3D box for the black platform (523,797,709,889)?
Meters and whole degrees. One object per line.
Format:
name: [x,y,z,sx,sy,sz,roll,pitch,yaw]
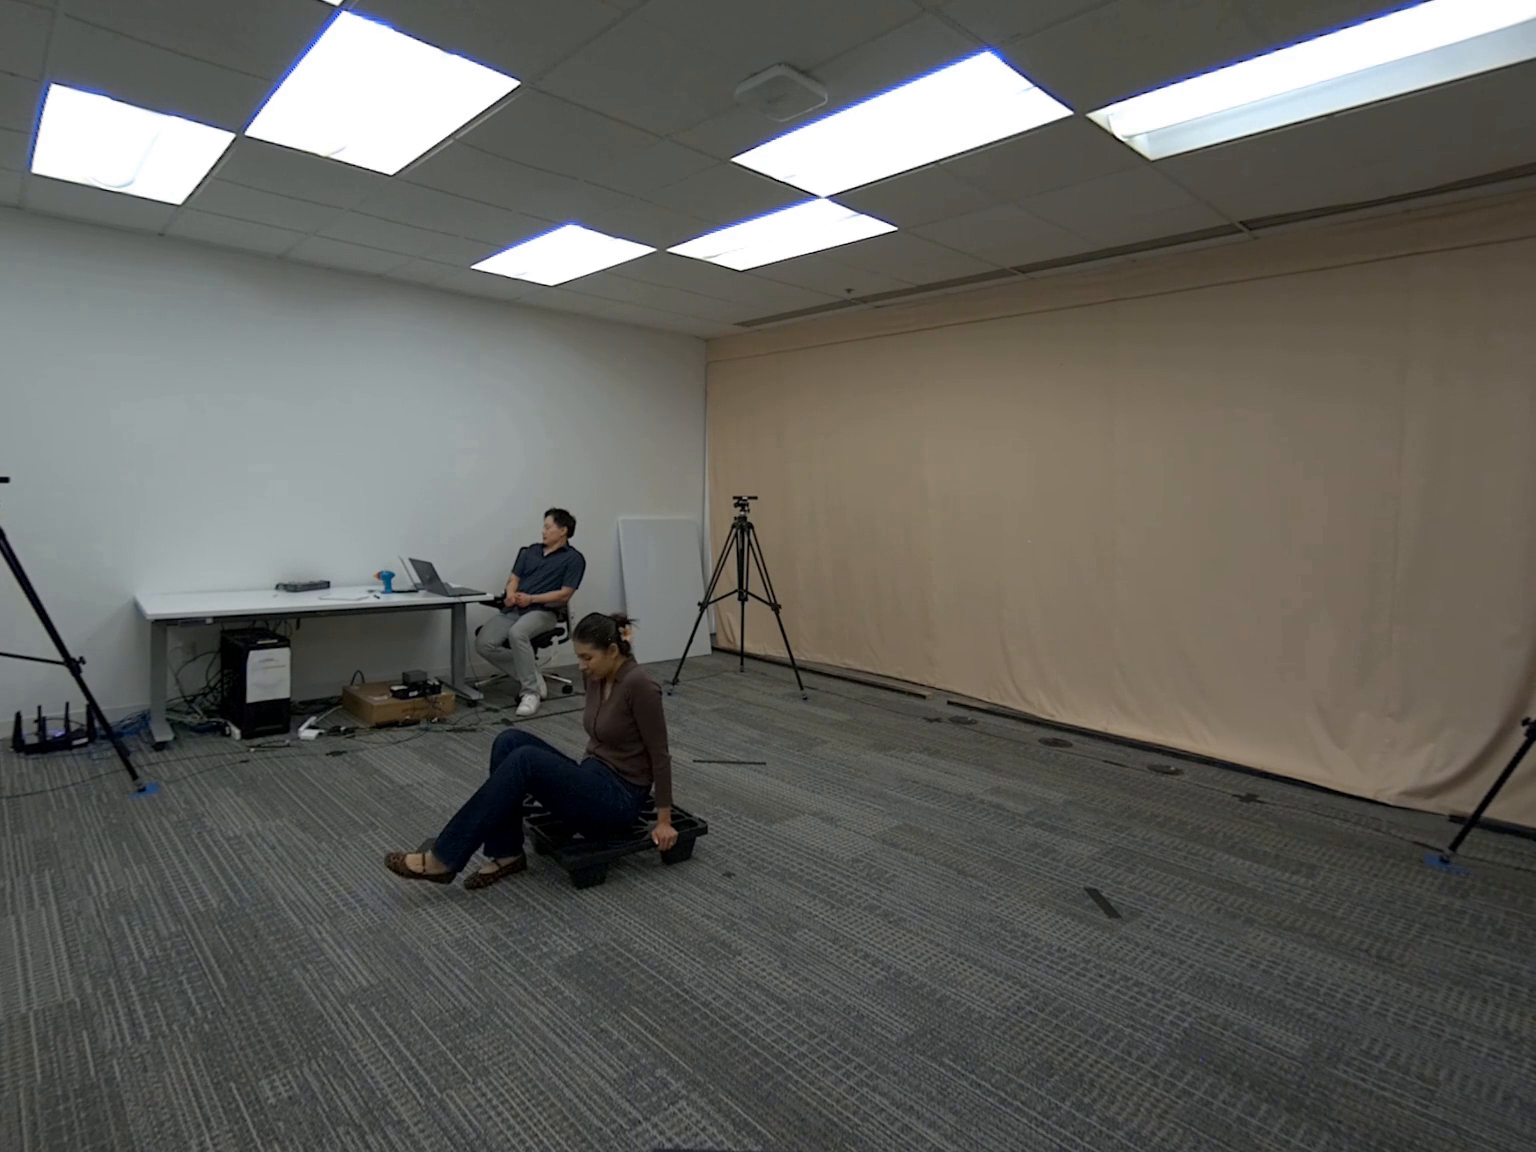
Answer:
black platform: [-0.708,1.000,3.388,0.592,0.143,0.826,-2,7,-37]
